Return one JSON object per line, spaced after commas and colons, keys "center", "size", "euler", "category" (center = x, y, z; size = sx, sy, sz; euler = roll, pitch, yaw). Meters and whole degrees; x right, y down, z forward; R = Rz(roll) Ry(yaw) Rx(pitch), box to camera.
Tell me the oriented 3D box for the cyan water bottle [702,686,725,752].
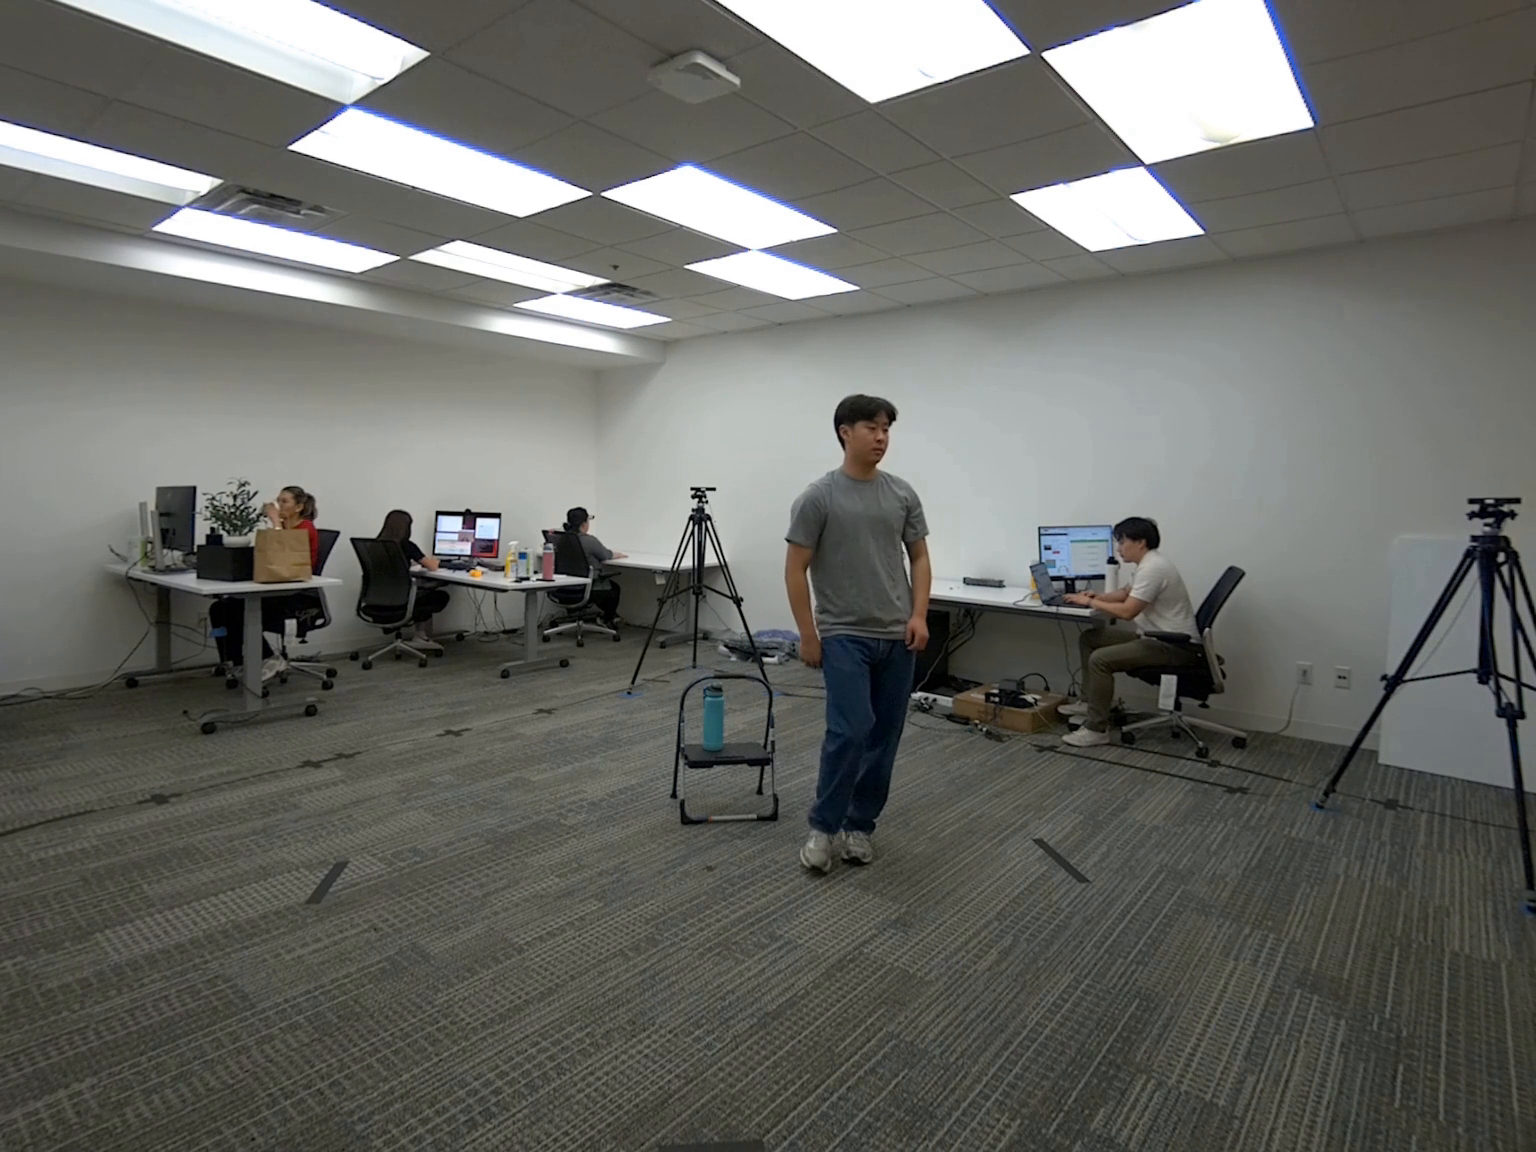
{"center": [-0.246, 0.602, 3.707], "size": [0.092, 0.283, 0.092], "euler": [-1, 1, -2], "category": "cyan water bottle"}
